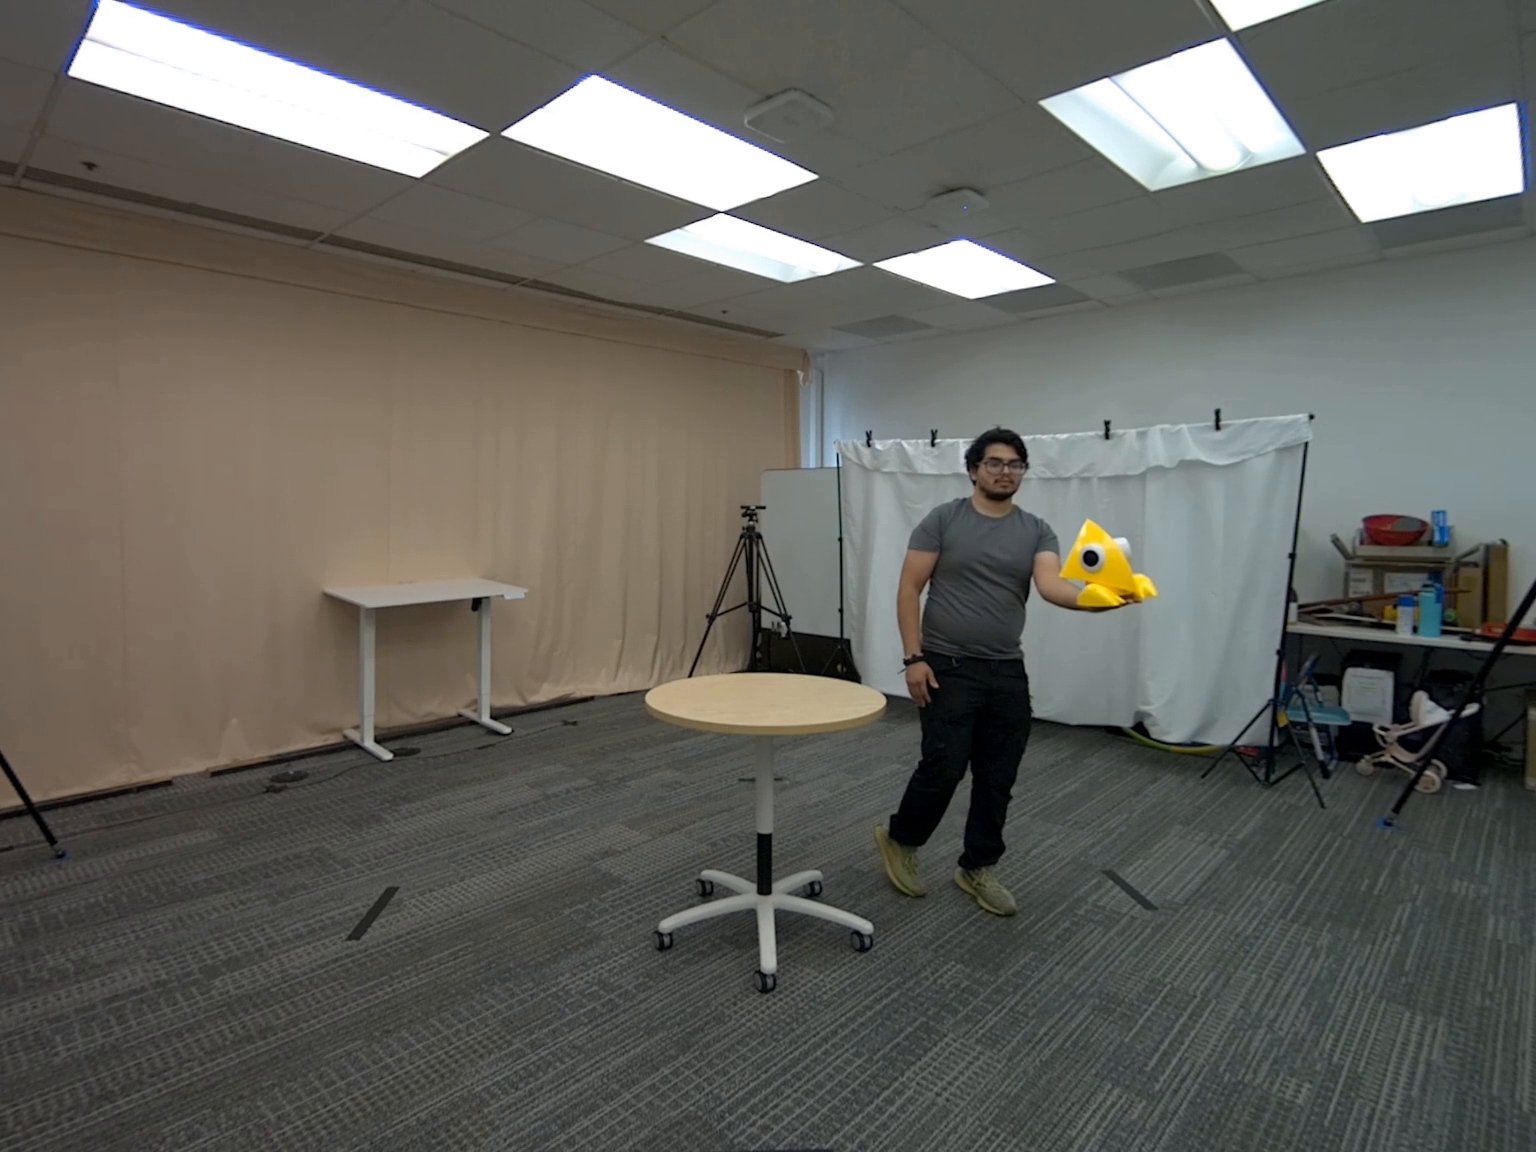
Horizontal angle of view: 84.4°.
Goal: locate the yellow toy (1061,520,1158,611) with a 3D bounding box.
[{"bbox_3d":[0.954,-0.046,2.381,0.202,0.230,0.196,-10,4,-14],"label":"yellow toy"}]
